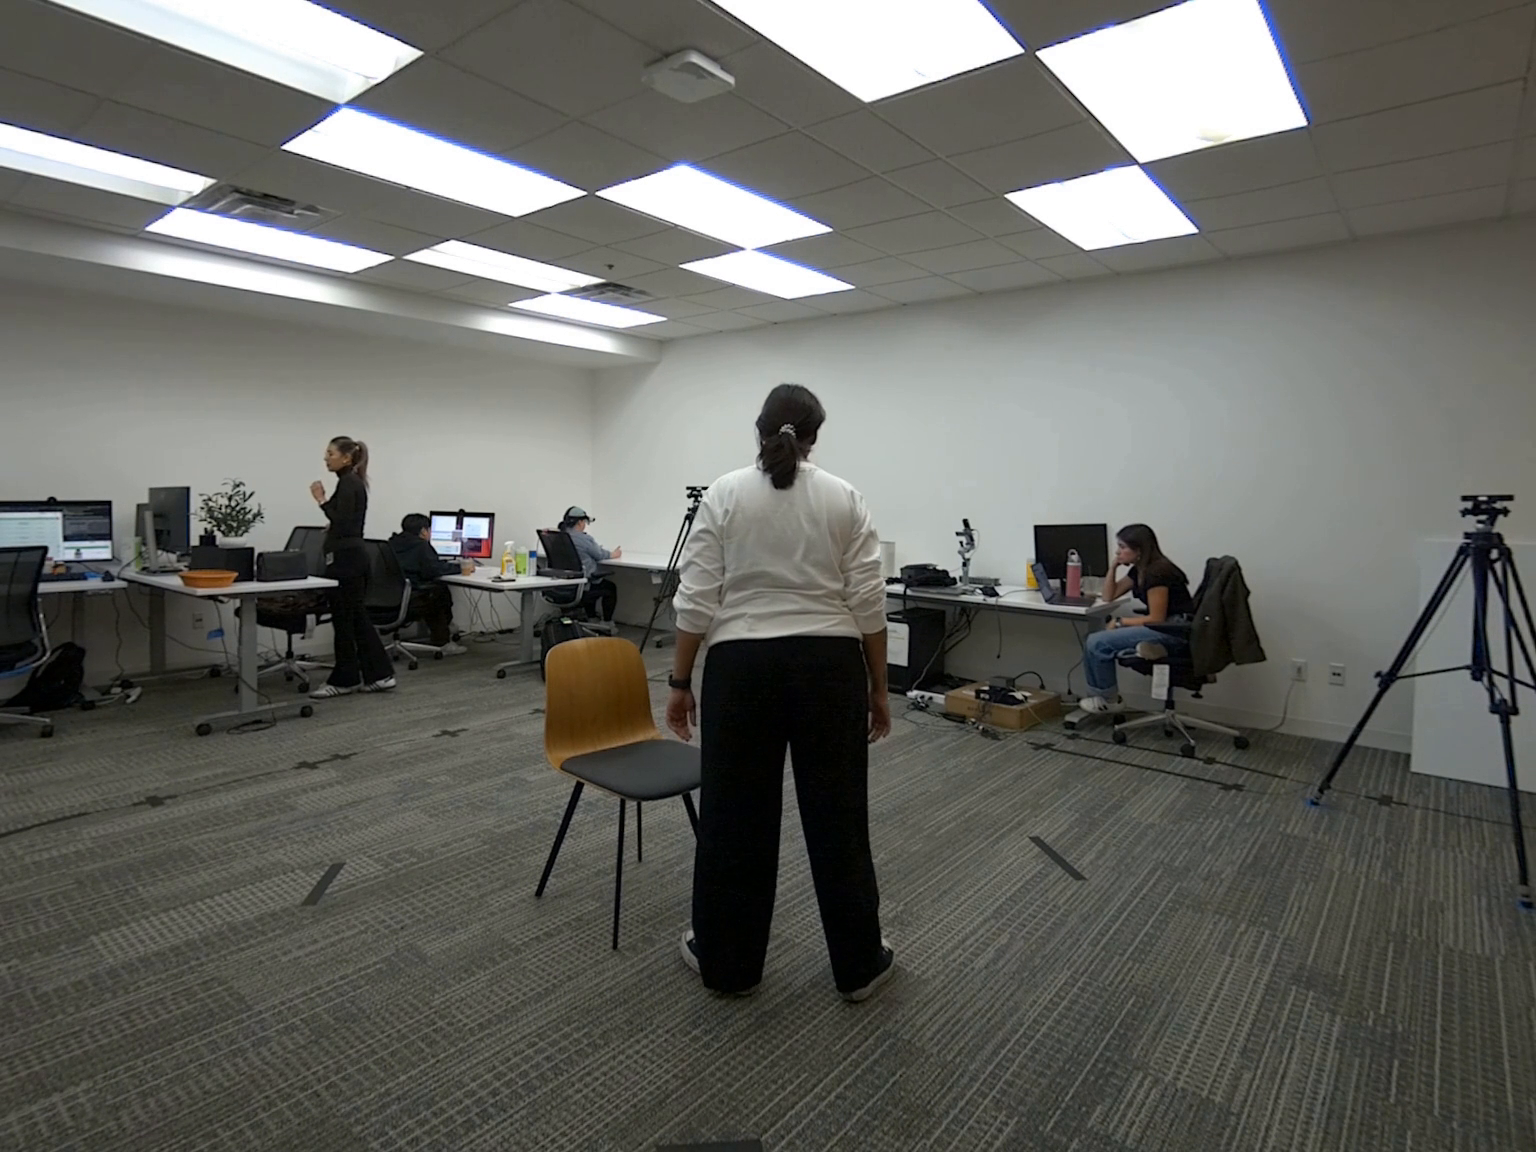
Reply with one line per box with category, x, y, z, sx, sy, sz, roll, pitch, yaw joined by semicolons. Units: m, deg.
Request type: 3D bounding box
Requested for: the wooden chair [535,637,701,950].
wooden chair;-0.456;0.661;2.830;0.463;0.878;0.539;-2;0;-45
